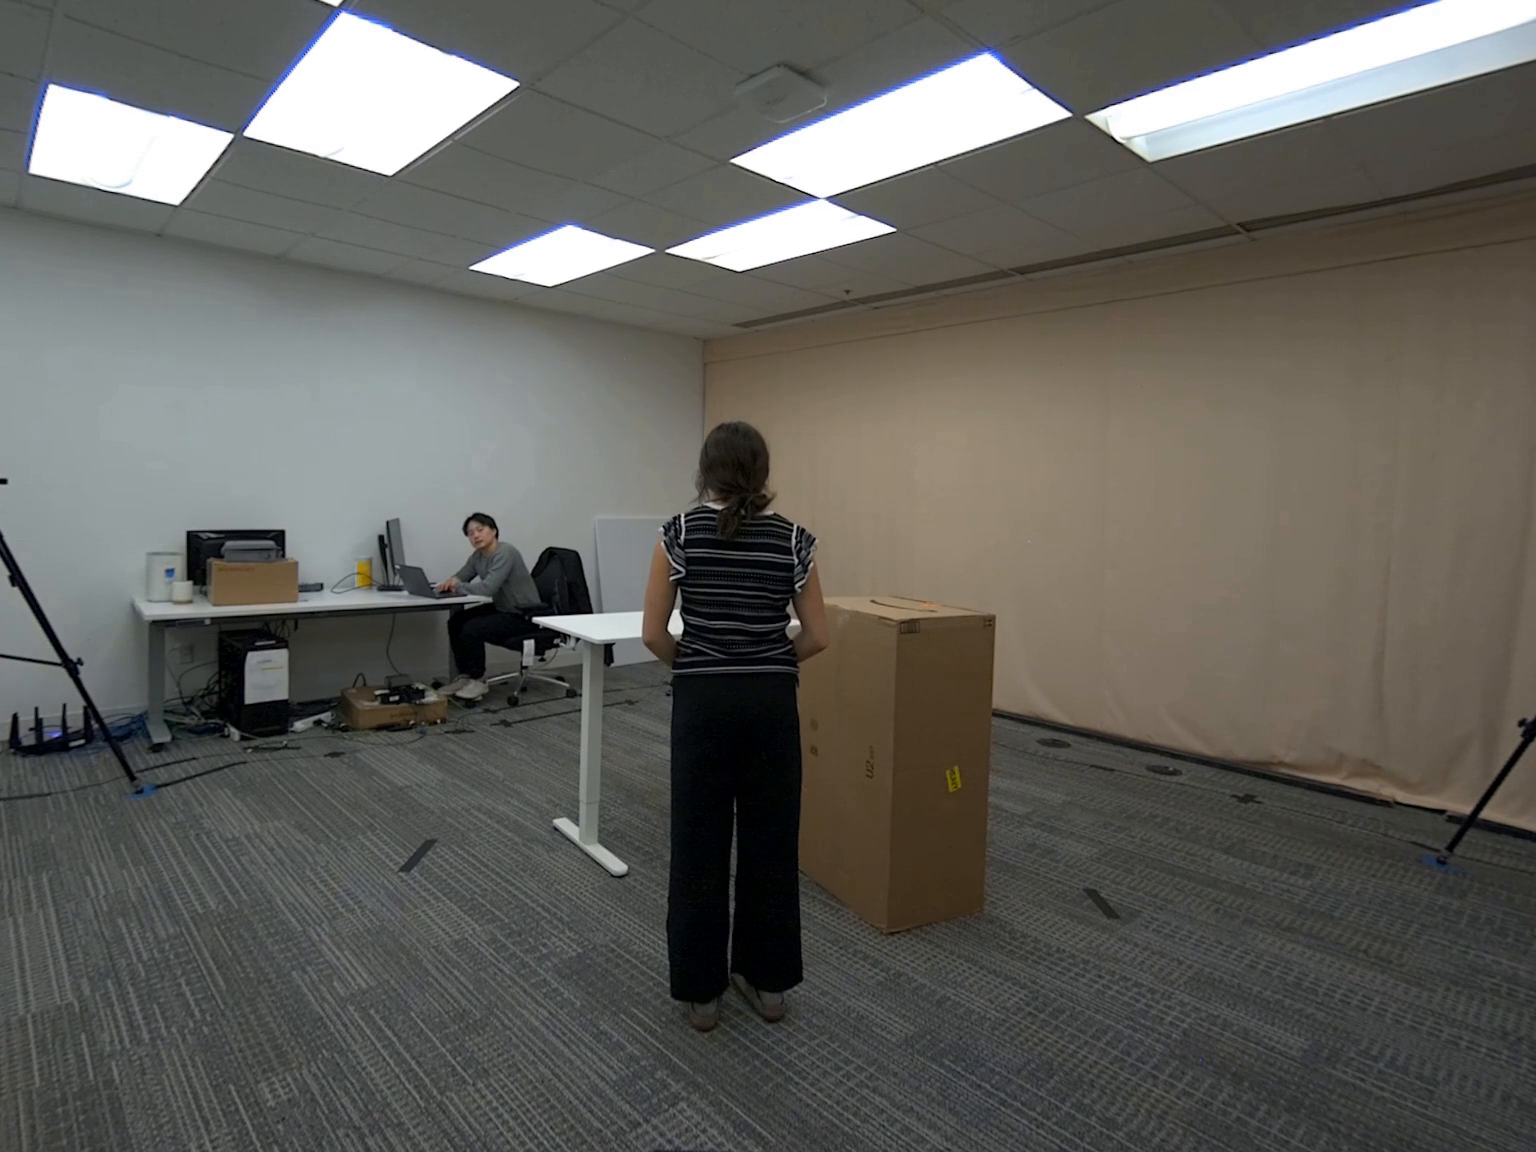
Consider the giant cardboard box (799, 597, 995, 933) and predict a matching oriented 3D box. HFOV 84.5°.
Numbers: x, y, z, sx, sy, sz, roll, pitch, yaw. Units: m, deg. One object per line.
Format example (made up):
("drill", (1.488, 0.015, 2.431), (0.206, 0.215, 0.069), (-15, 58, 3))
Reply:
("giant cardboard box", (0.432, 0.617, 3.027), (0.418, 1.024, 0.590), (0, 3, -29))
